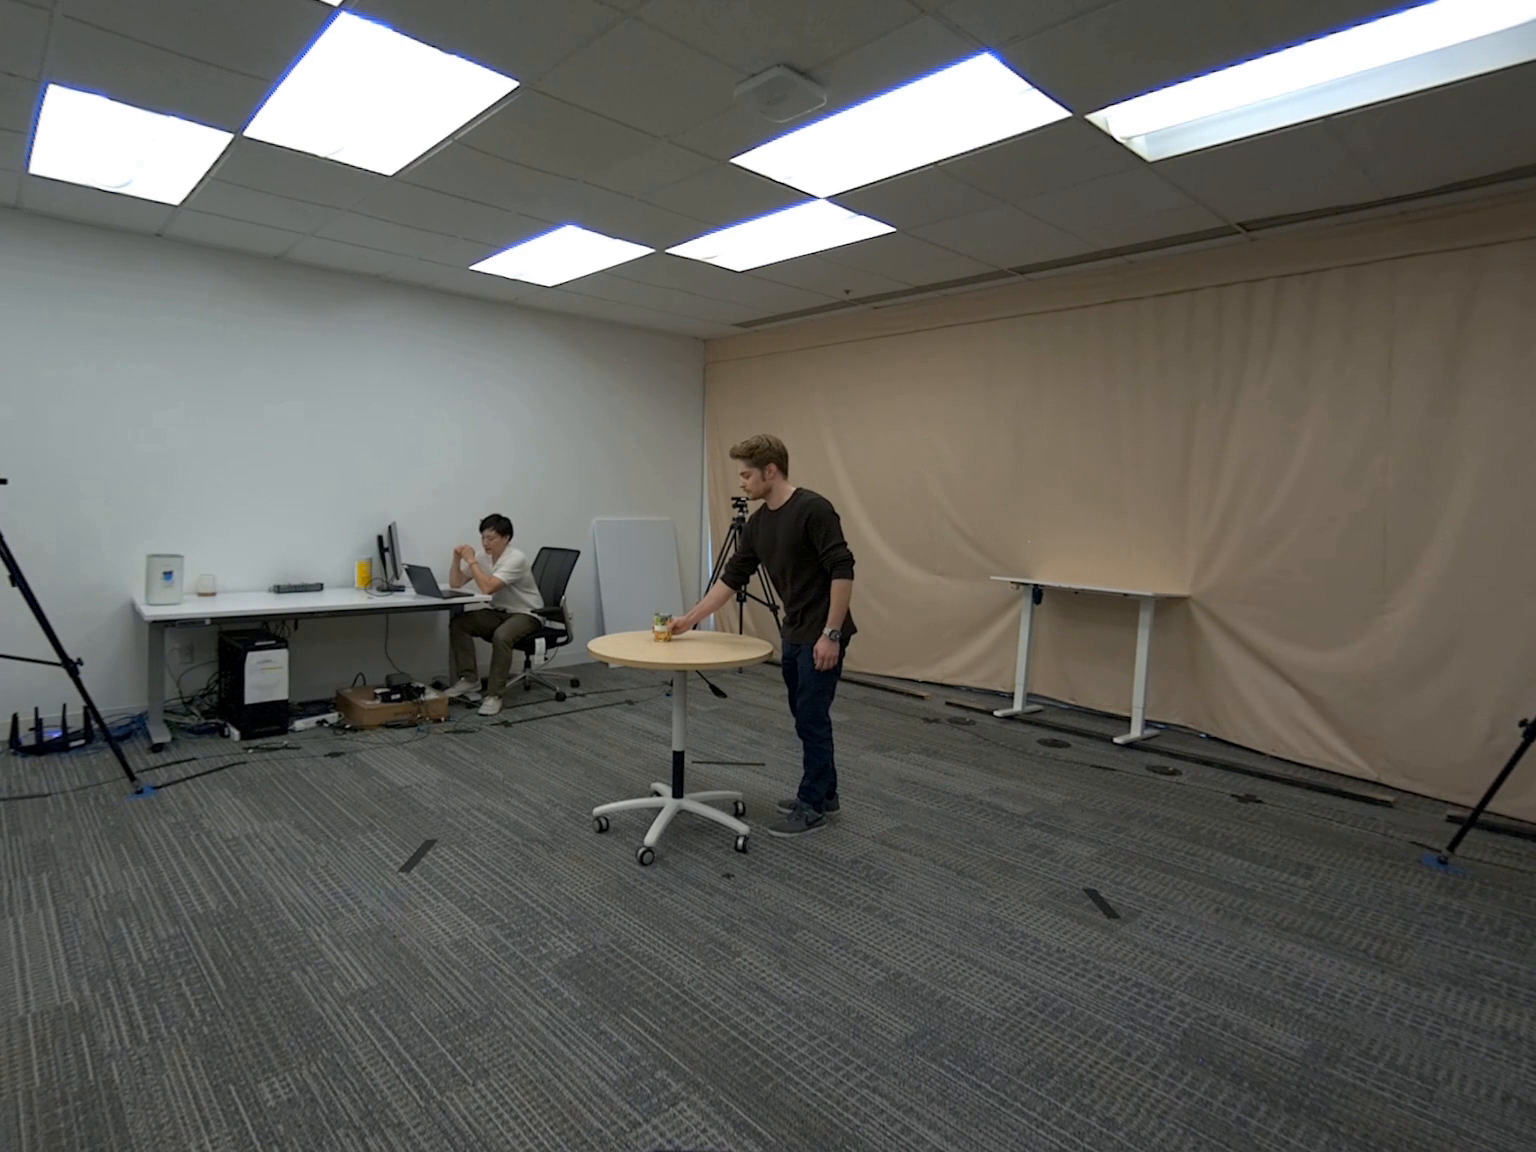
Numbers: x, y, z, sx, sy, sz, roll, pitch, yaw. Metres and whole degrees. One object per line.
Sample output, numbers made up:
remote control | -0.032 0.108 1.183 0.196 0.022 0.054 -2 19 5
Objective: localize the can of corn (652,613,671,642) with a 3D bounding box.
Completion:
can of corn | -0.452 0.217 3.576 0.074 0.111 0.074 2 1 -1
